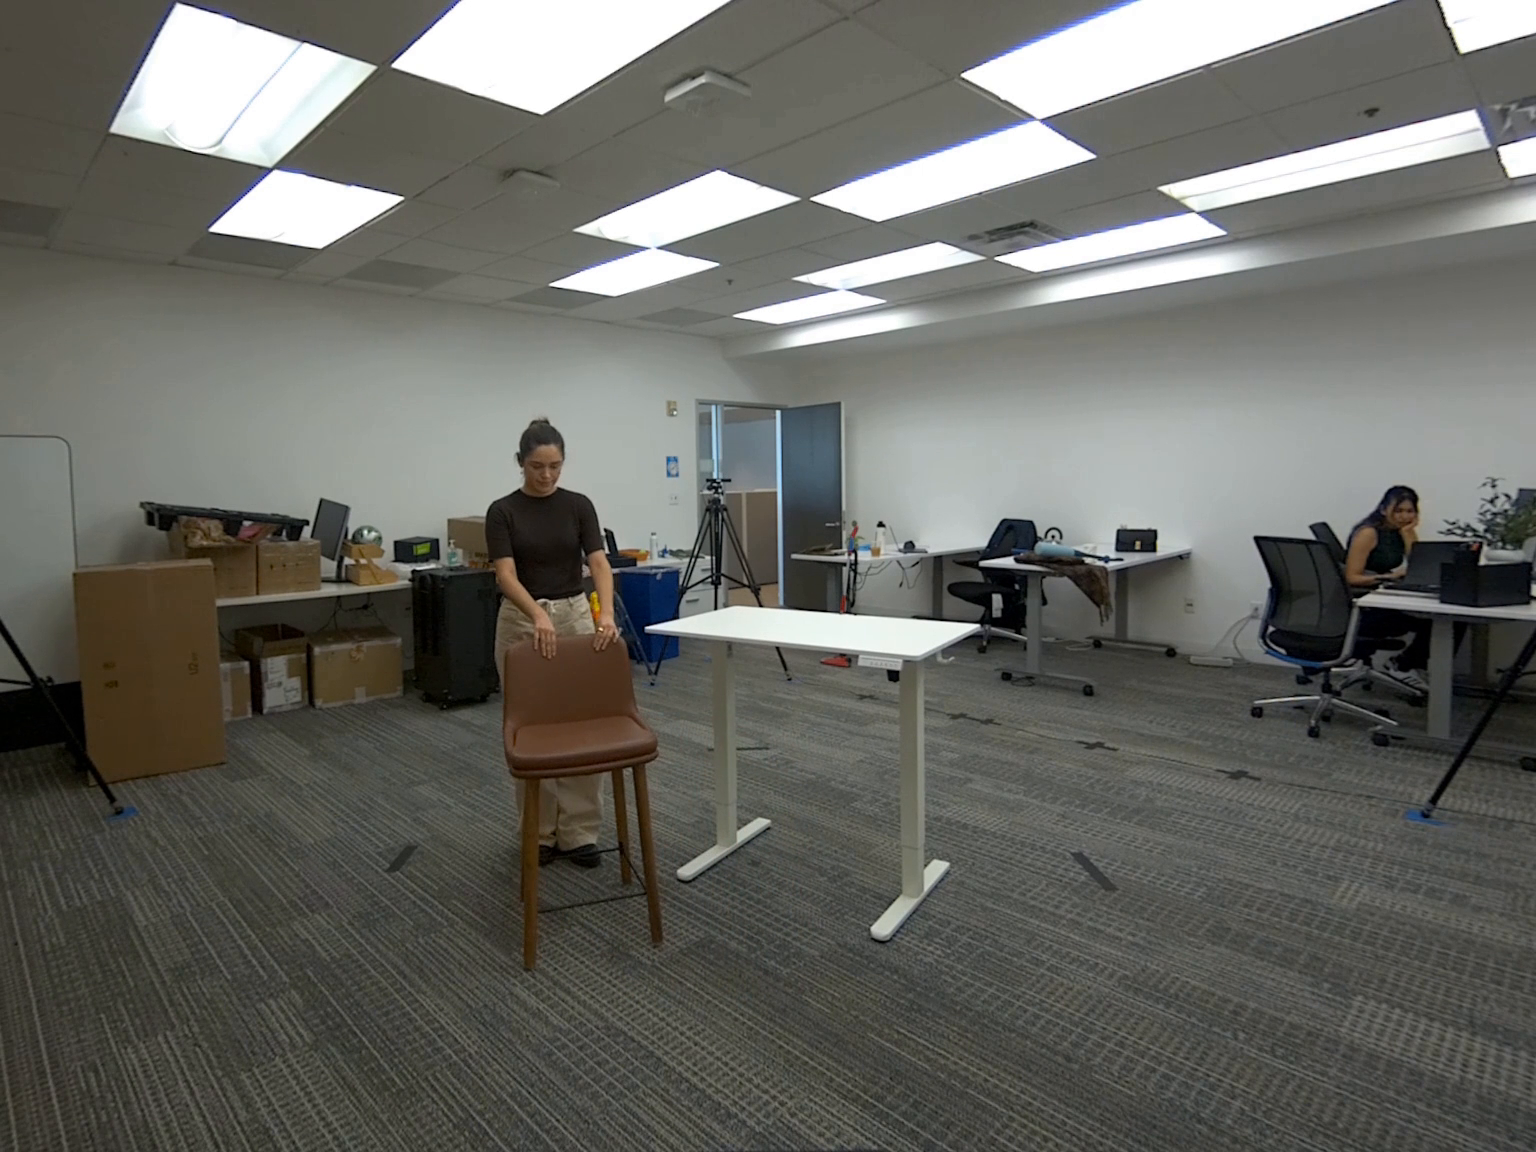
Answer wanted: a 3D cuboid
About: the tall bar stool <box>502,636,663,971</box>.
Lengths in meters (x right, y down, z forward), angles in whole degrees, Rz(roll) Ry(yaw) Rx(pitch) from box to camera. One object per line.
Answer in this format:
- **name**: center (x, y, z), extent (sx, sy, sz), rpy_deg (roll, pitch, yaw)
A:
- **tall bar stool**: center (-0.595, 0.662, 2.705), extent (0.449, 0.889, 0.476), rpy_deg (-3, 1, -19)
